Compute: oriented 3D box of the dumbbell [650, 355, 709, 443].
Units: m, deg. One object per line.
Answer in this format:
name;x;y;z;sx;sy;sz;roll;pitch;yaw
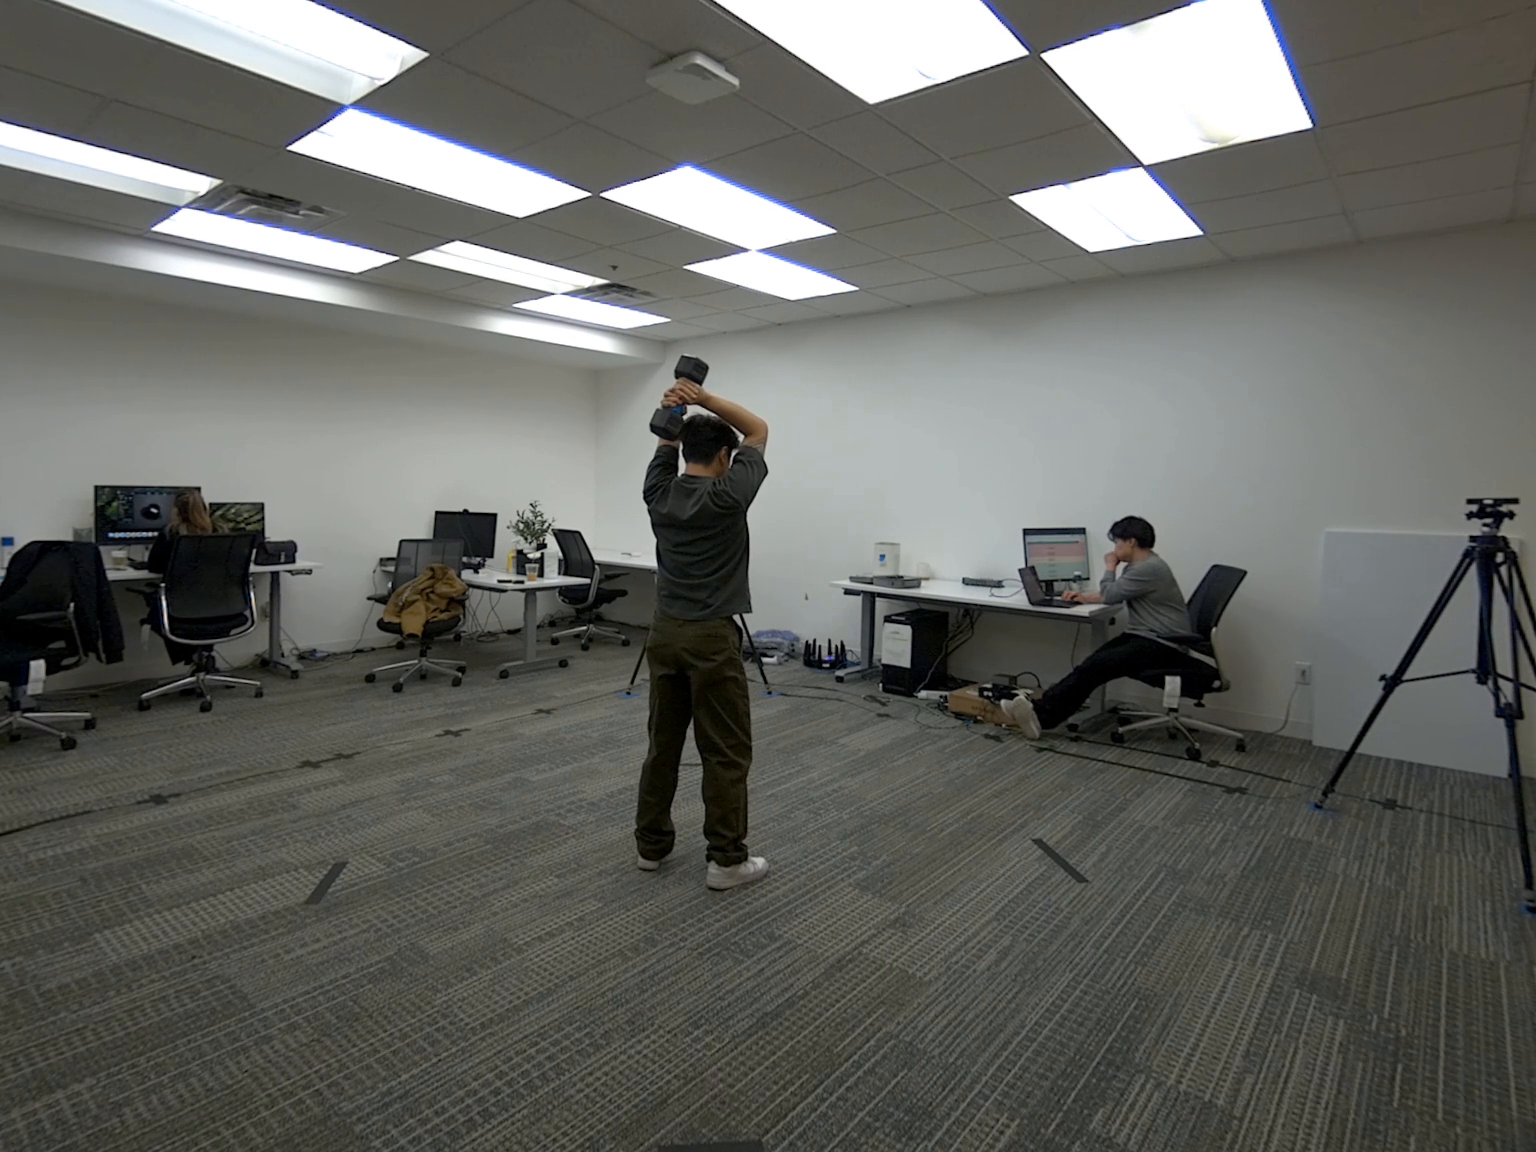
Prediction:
dumbbell;-0.319;-0.623;2.958;0.119;0.295;0.112;31;-12;-30
